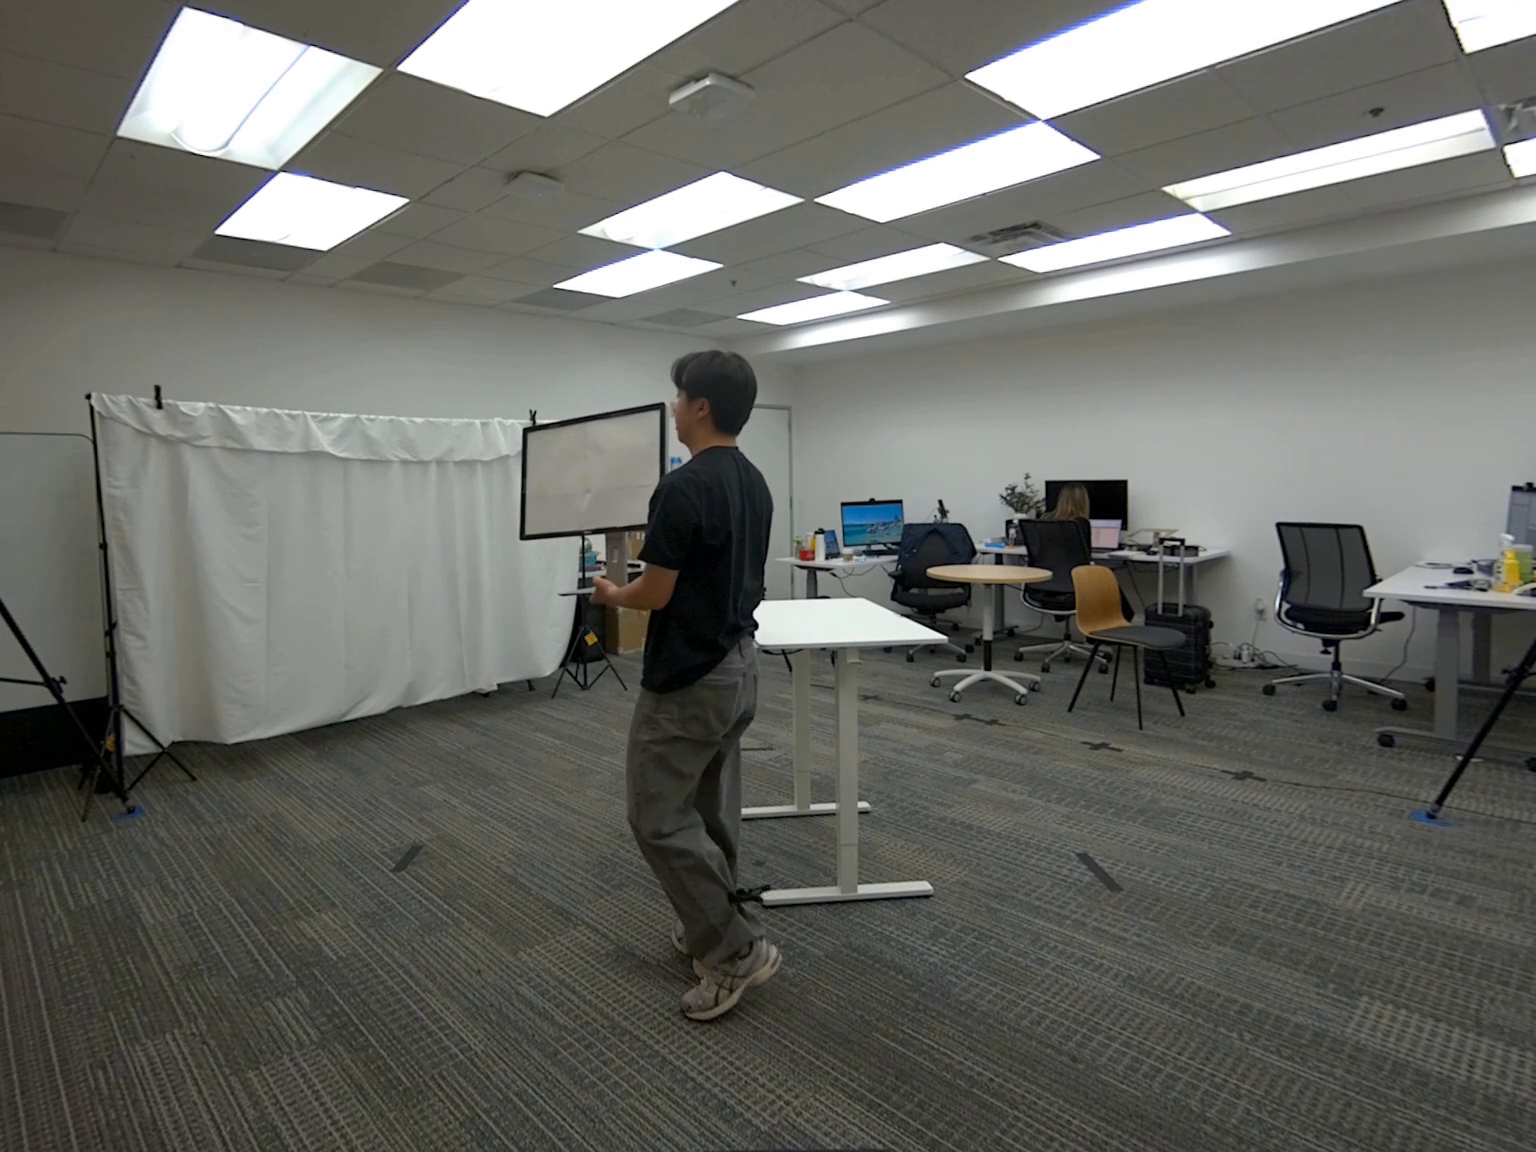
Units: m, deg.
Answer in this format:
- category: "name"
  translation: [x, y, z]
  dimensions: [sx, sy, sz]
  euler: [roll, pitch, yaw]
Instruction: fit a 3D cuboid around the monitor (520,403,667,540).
- category: "monitor"
  translation: [-0.504, -0.206, 2.597]
  dimensions: [0.576, 0.563, 0.218]
  euler: [-4, 6, 33]
